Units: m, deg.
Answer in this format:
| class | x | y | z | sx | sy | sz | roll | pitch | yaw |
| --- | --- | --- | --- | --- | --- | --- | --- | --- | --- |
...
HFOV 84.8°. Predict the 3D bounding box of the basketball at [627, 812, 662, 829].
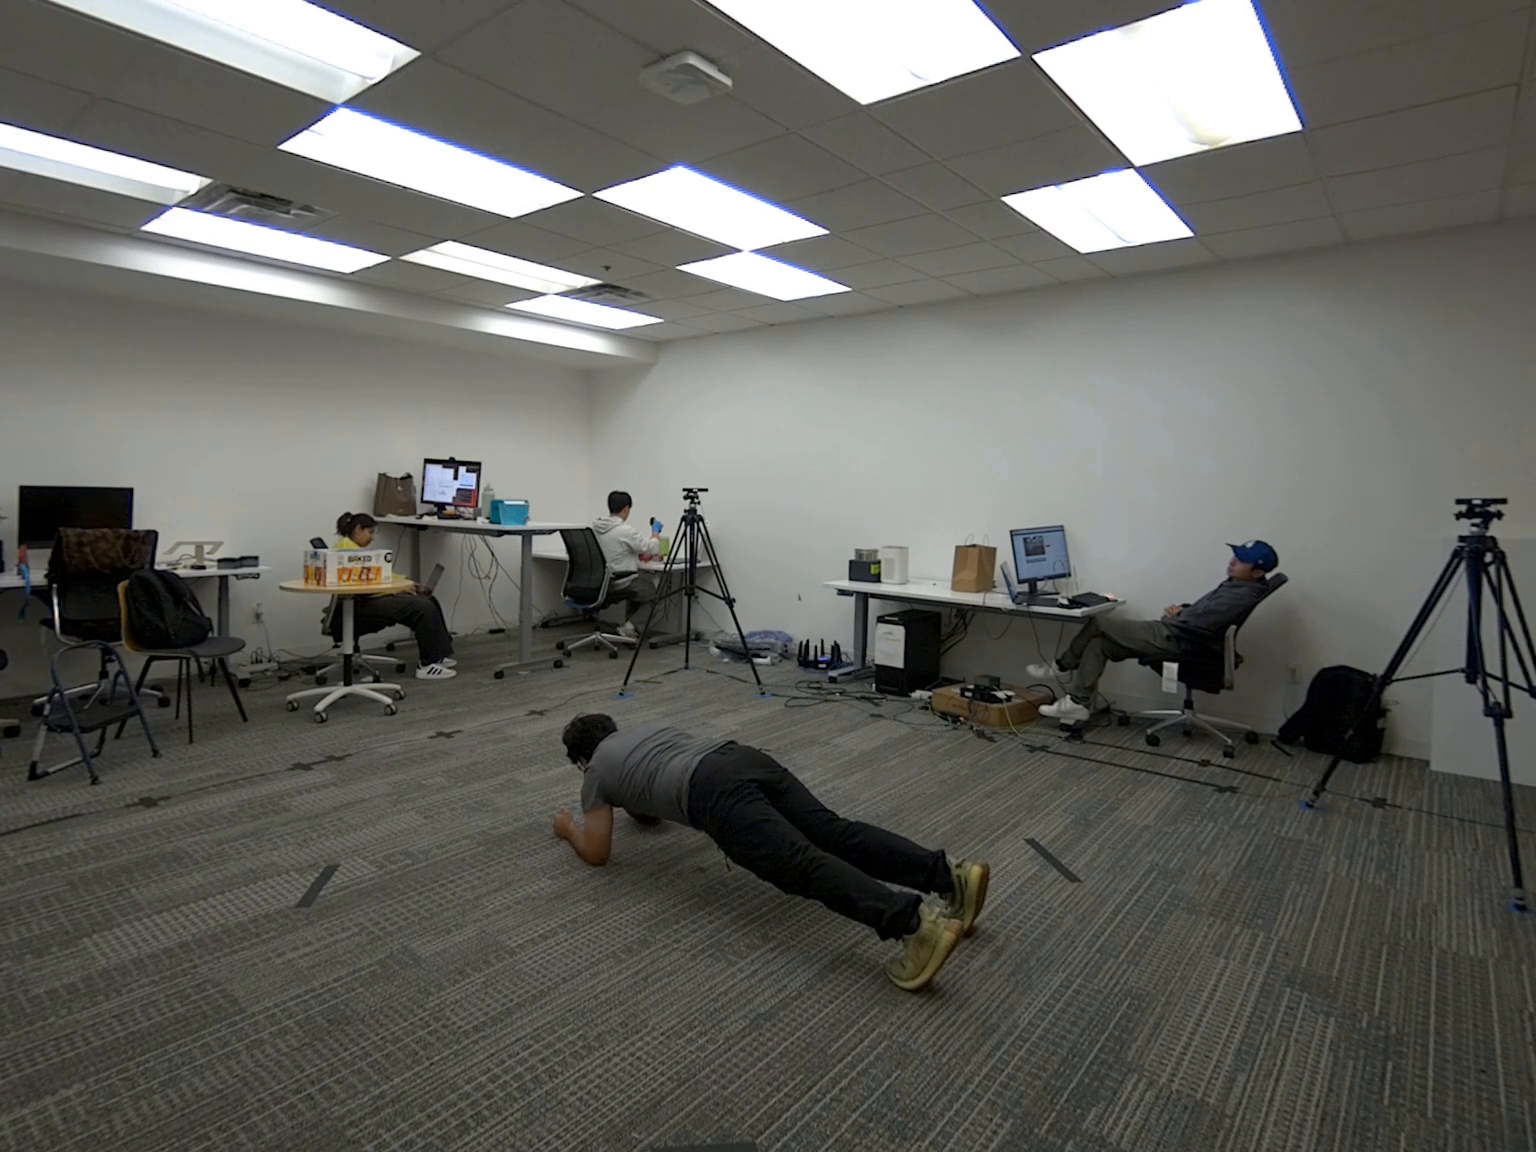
| class | x | y | z | sx | sy | sz | roll | pitch | yaw |
| --- | --- | --- | --- | --- | --- | --- | --- | --- | --- |
| basketball | -0.510 | 0.890 | 3.558 | 0.235 | 0.235 | 0.237 | 1 | 4 | -2 |
